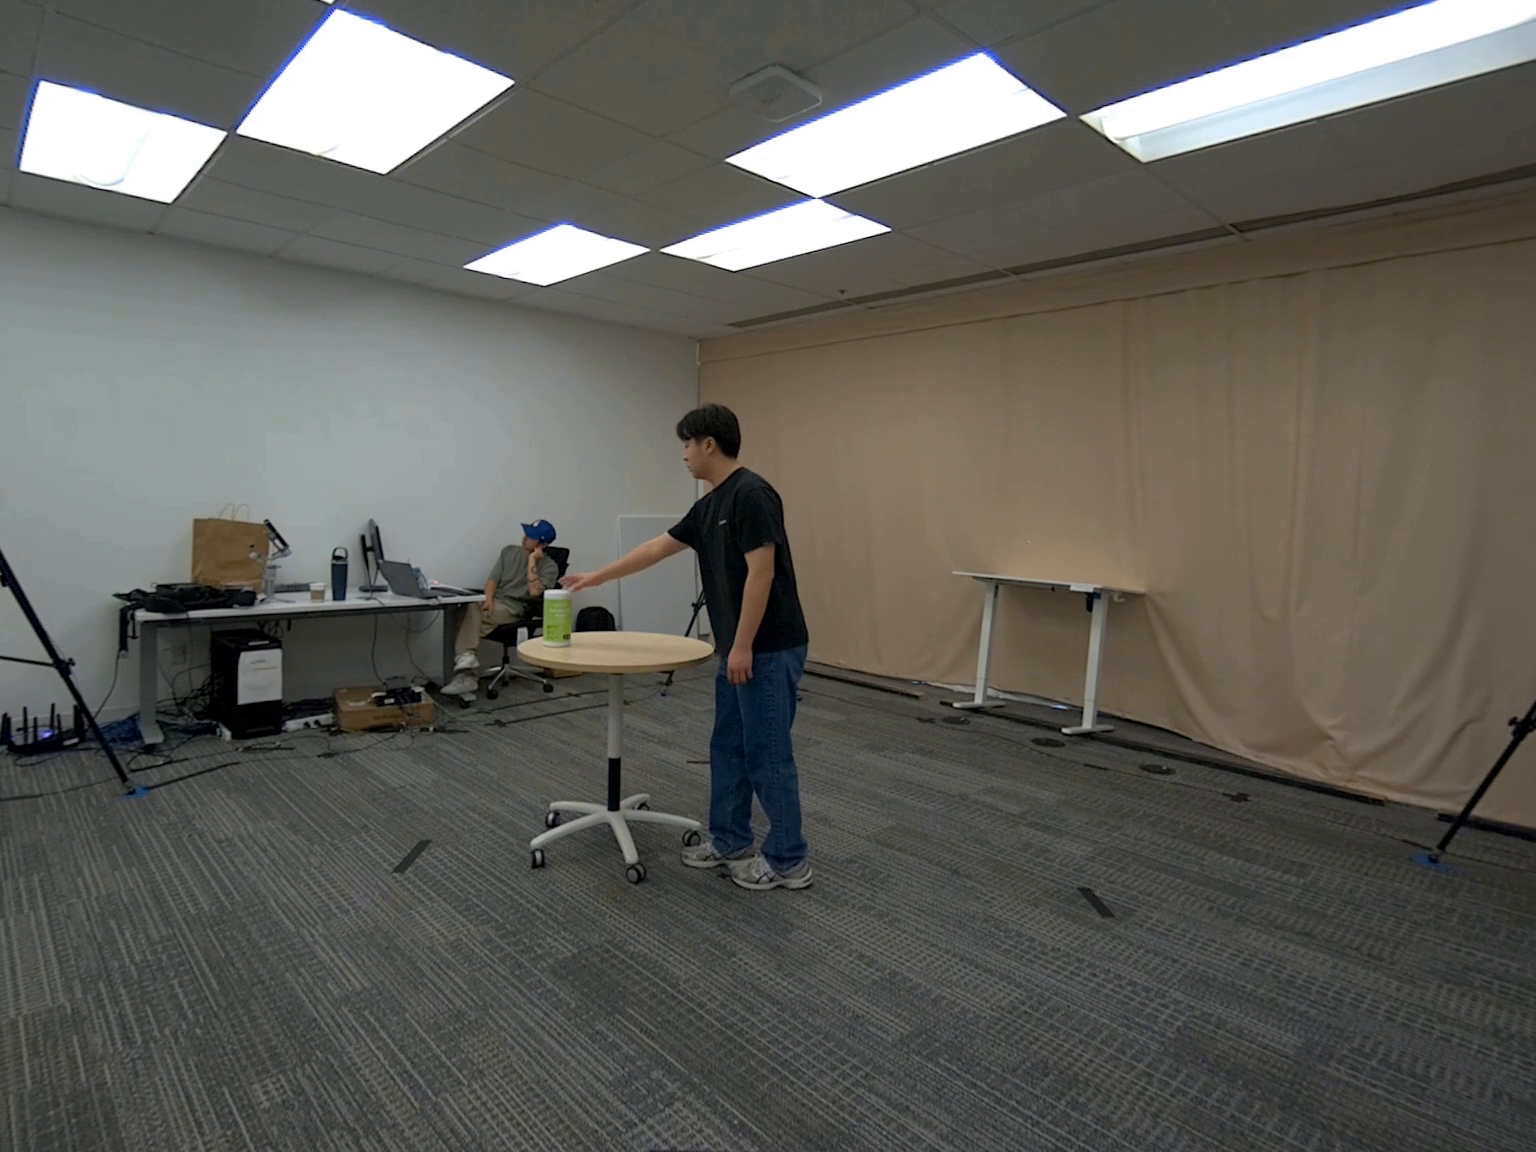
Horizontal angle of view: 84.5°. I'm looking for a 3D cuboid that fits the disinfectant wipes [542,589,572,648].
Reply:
[{"bbox_3d":[-0.830,0.170,3.311,0.118,0.217,0.118,1,1,-1],"label":"disinfectant wipes"}]
